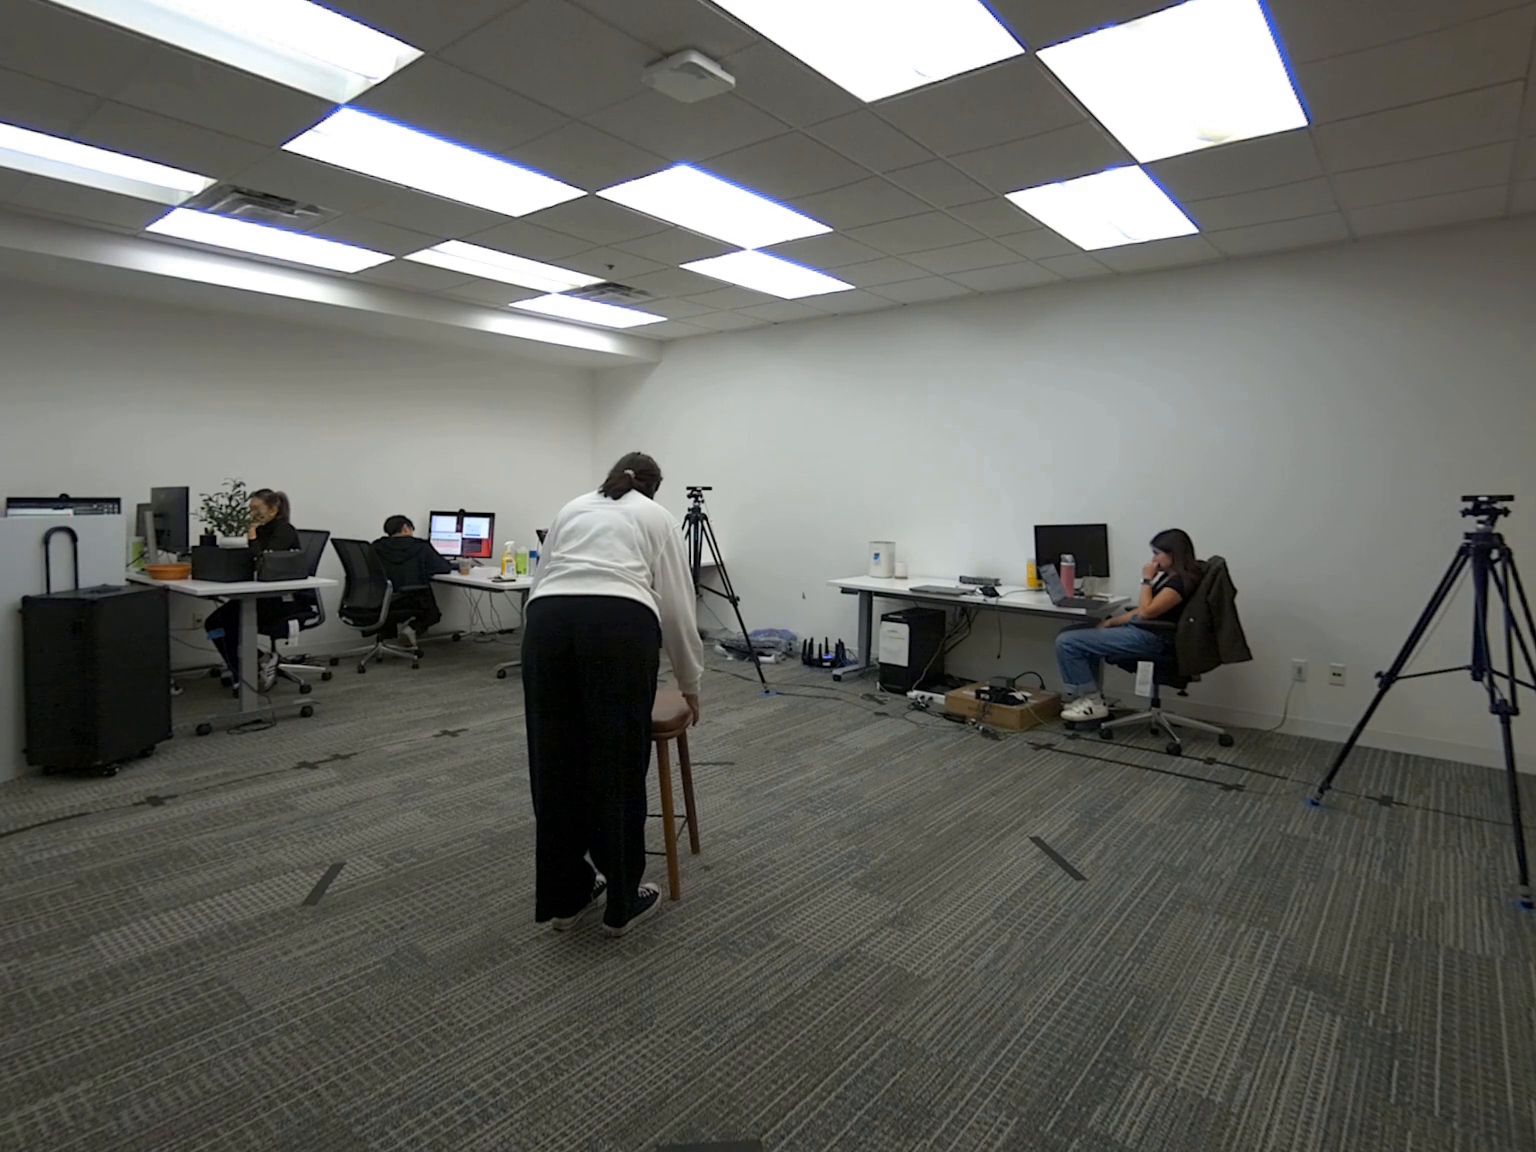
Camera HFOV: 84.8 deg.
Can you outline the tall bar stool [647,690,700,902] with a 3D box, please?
[{"bbox_3d":[-0.499,0.625,3.066,0.473,0.887,0.453,-1,3,9],"label":"tall bar stool"}]
